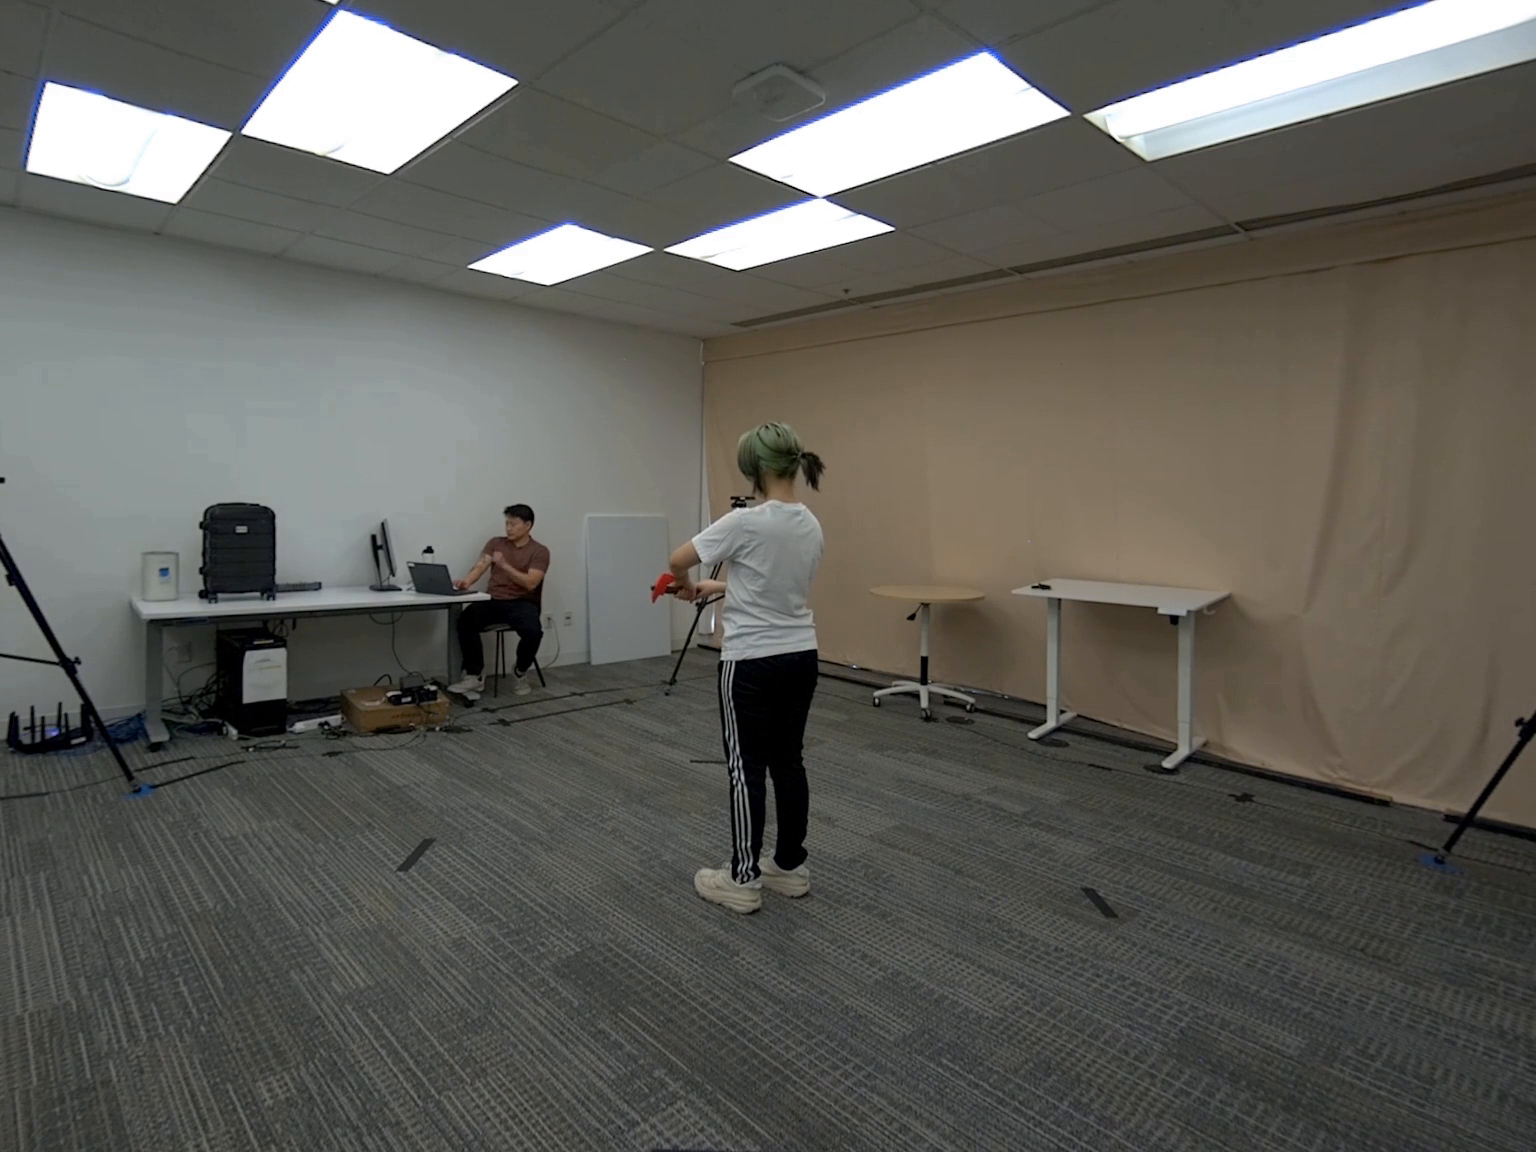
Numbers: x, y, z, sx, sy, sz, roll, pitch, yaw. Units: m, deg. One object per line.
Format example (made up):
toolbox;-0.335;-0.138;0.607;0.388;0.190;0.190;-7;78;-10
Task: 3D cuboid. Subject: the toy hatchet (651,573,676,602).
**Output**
toy hatchet;-0.307;0.026;3.117;0.268;0.128;0.030;-7;31;-12
